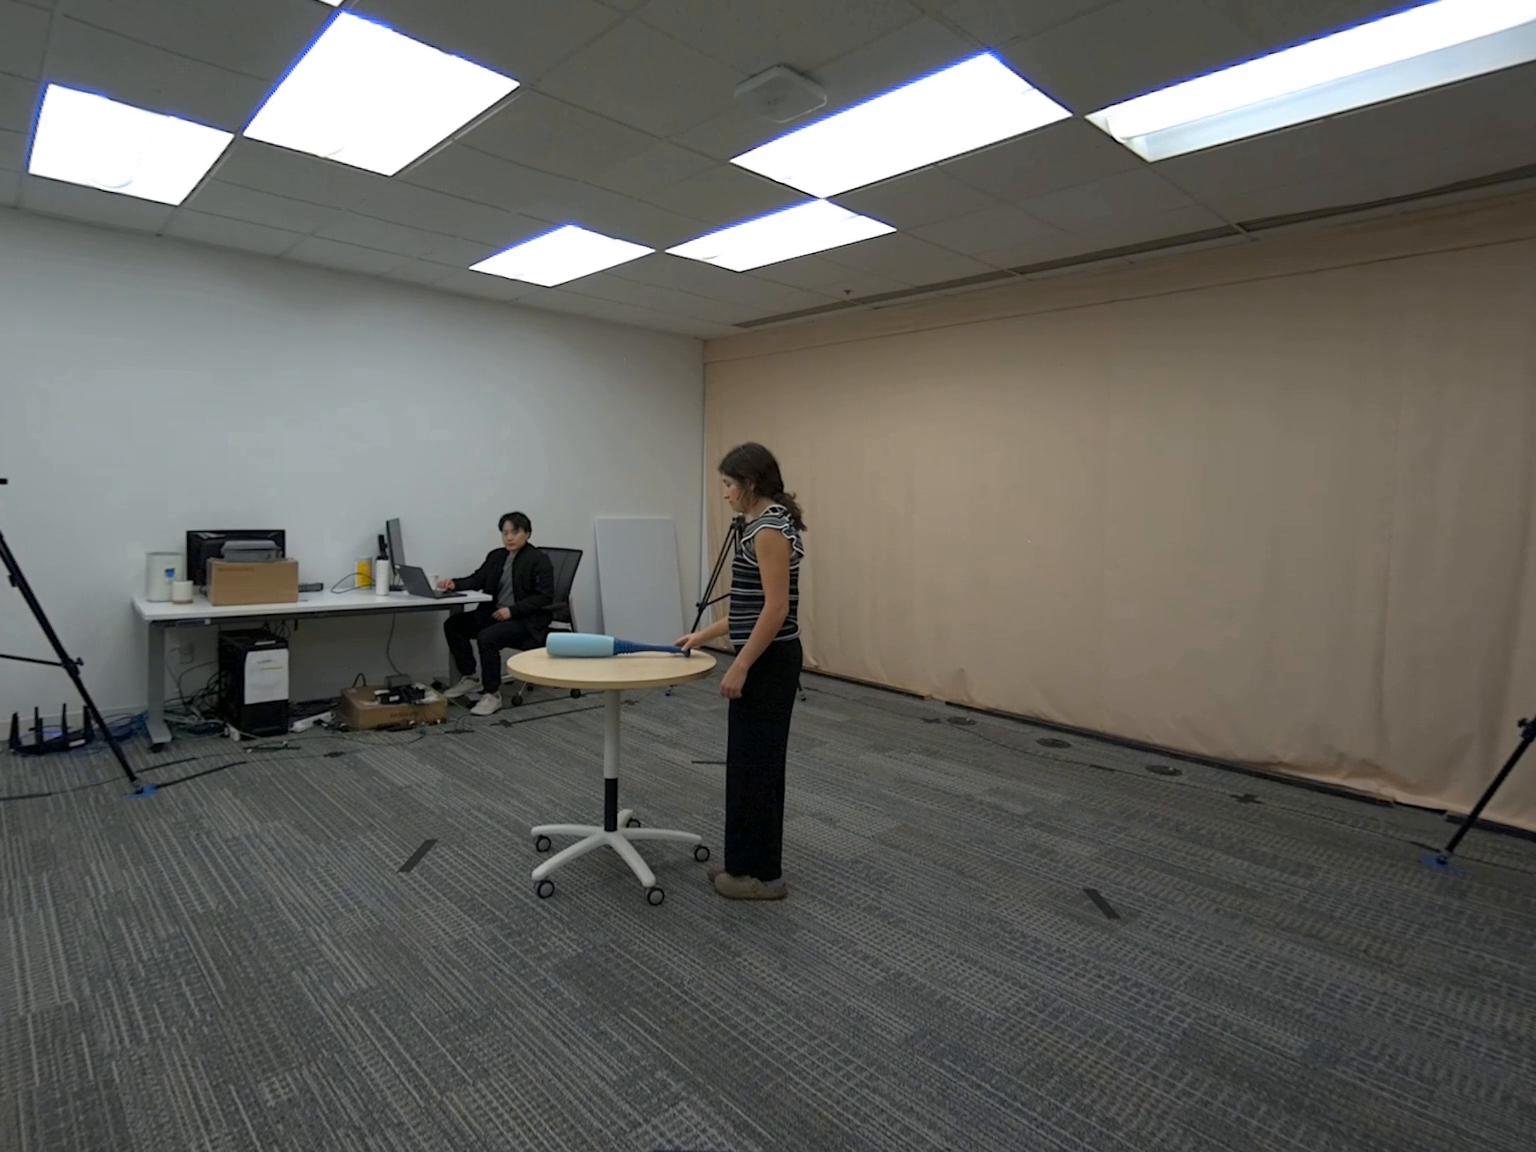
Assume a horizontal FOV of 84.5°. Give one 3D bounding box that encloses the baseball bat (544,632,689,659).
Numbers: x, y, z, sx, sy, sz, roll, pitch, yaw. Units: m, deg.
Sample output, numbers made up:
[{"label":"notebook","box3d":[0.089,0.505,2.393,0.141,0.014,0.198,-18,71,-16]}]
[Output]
[{"label":"baseball bat","box3d":[-0.566,0.269,3.174,0.540,0.089,0.089,3,4,-5]}]
